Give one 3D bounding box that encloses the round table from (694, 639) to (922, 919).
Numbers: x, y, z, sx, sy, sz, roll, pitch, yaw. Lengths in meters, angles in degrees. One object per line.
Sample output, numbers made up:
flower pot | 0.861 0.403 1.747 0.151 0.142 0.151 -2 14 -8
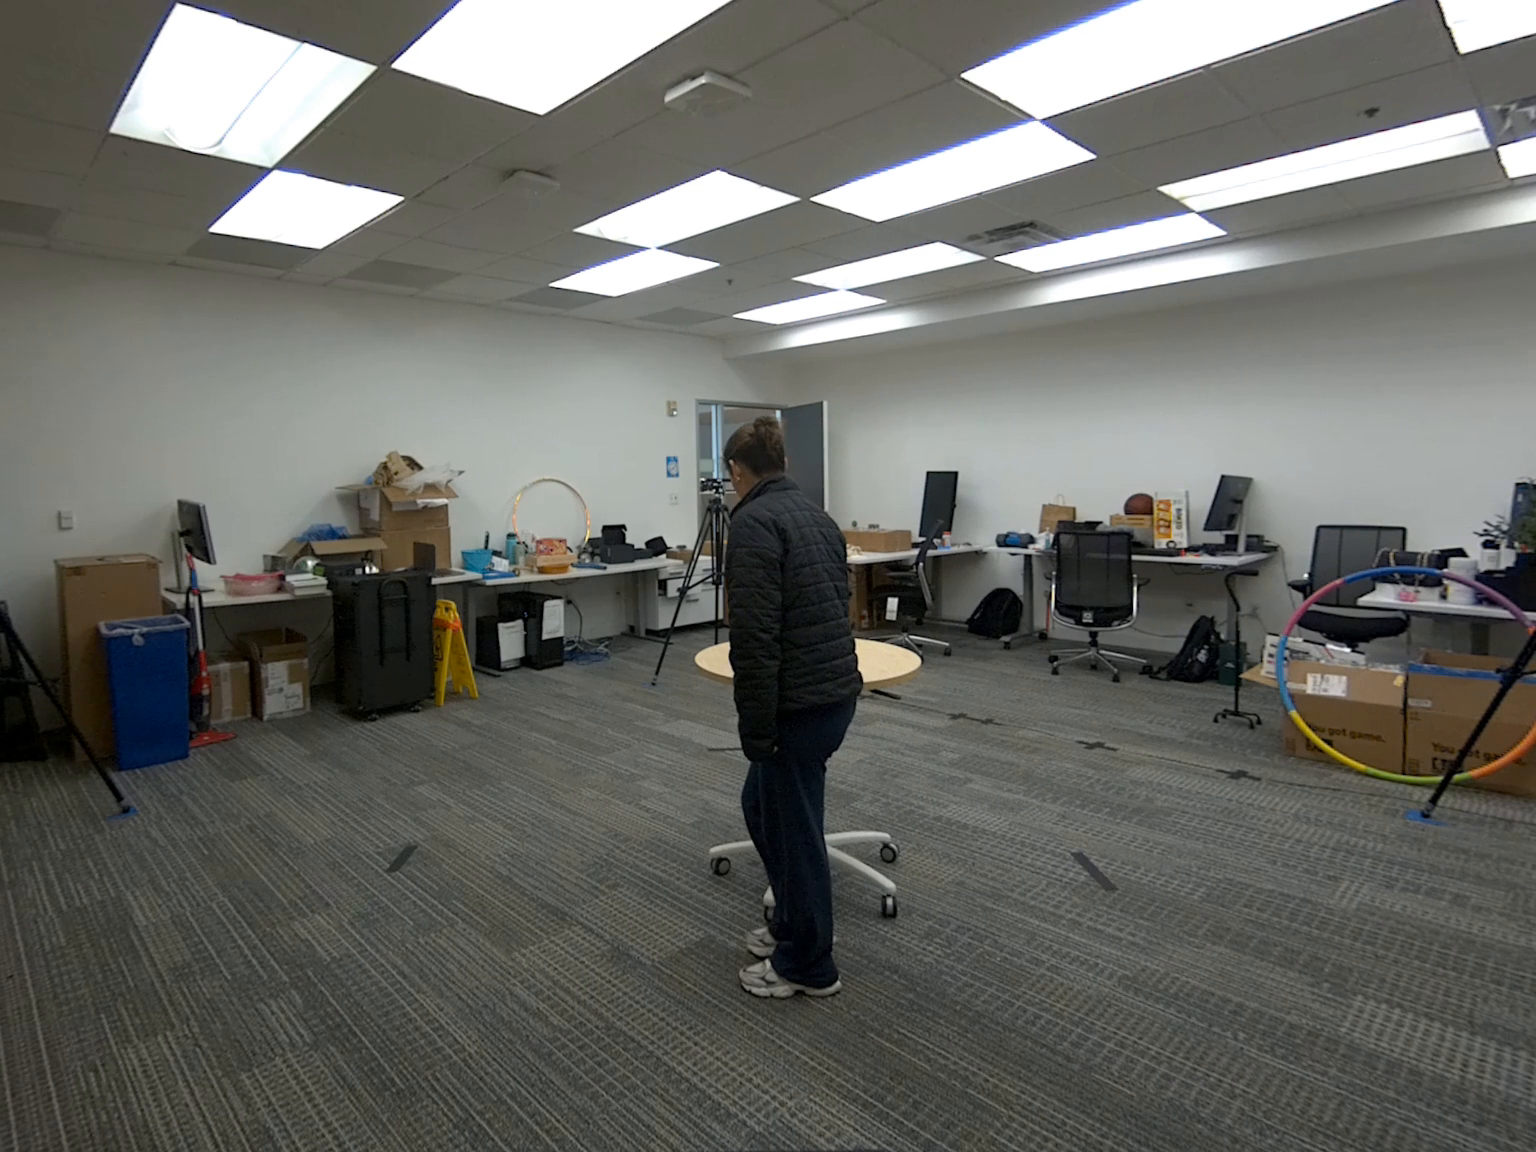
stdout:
round table | 0.133 0.664 2.959 0.784 0.783 0.789 -1 5 -2
